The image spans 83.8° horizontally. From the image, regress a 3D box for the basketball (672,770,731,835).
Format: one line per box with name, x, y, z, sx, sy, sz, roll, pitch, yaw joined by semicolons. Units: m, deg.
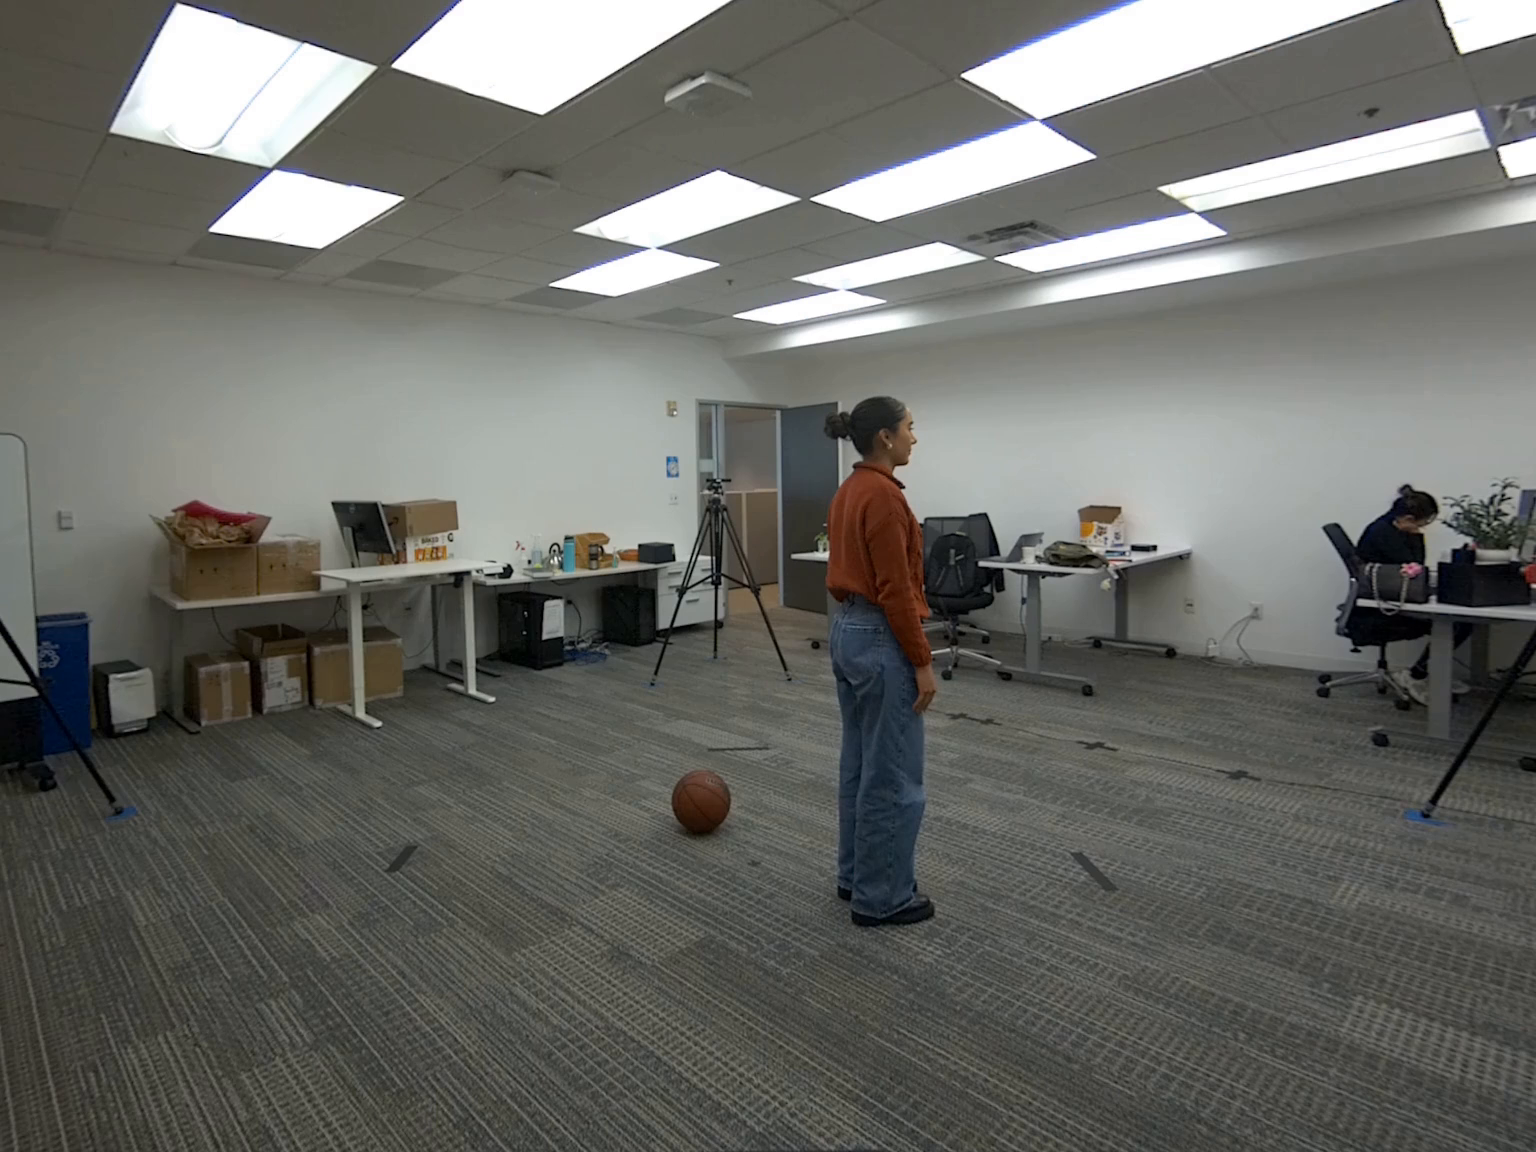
basketball;-0.260;0.888;3.403;0.236;0.235;0.237;-1;5;-2
